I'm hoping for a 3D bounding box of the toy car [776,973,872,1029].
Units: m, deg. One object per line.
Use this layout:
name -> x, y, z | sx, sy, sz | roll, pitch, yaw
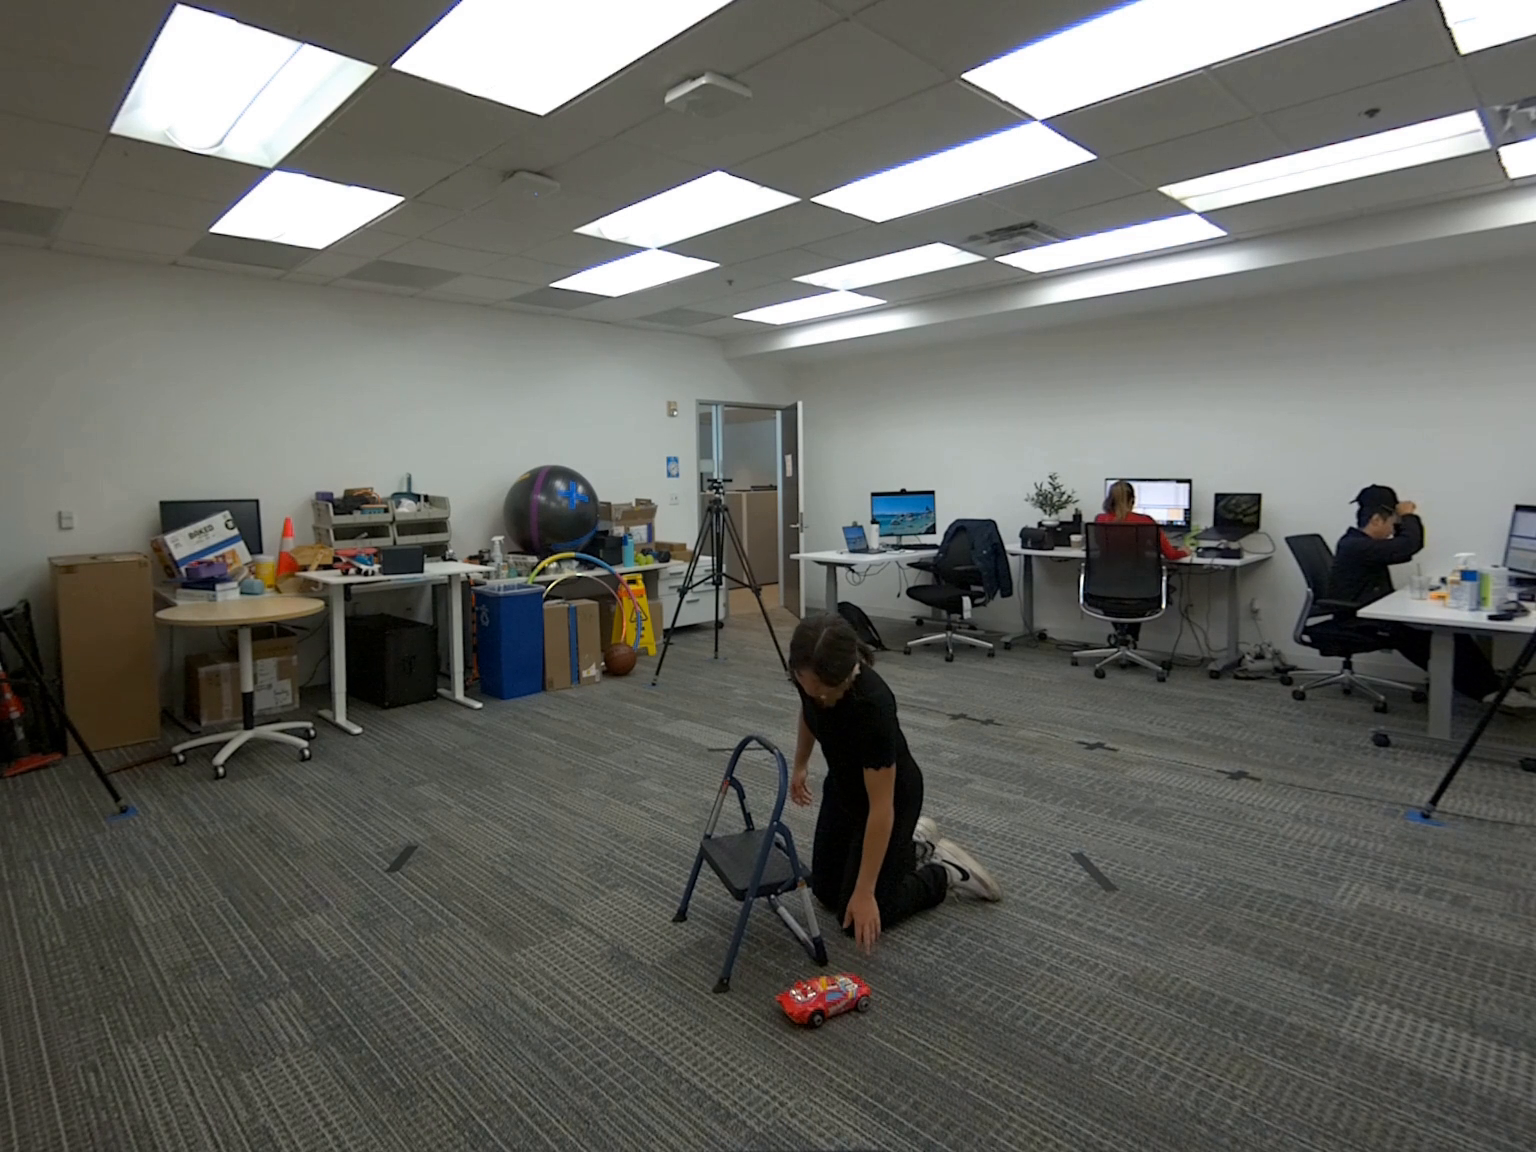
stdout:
toy car -> 0.149, 1.117, 2.234 | 0.248, 0.083, 0.134 | 8, 2, -26
